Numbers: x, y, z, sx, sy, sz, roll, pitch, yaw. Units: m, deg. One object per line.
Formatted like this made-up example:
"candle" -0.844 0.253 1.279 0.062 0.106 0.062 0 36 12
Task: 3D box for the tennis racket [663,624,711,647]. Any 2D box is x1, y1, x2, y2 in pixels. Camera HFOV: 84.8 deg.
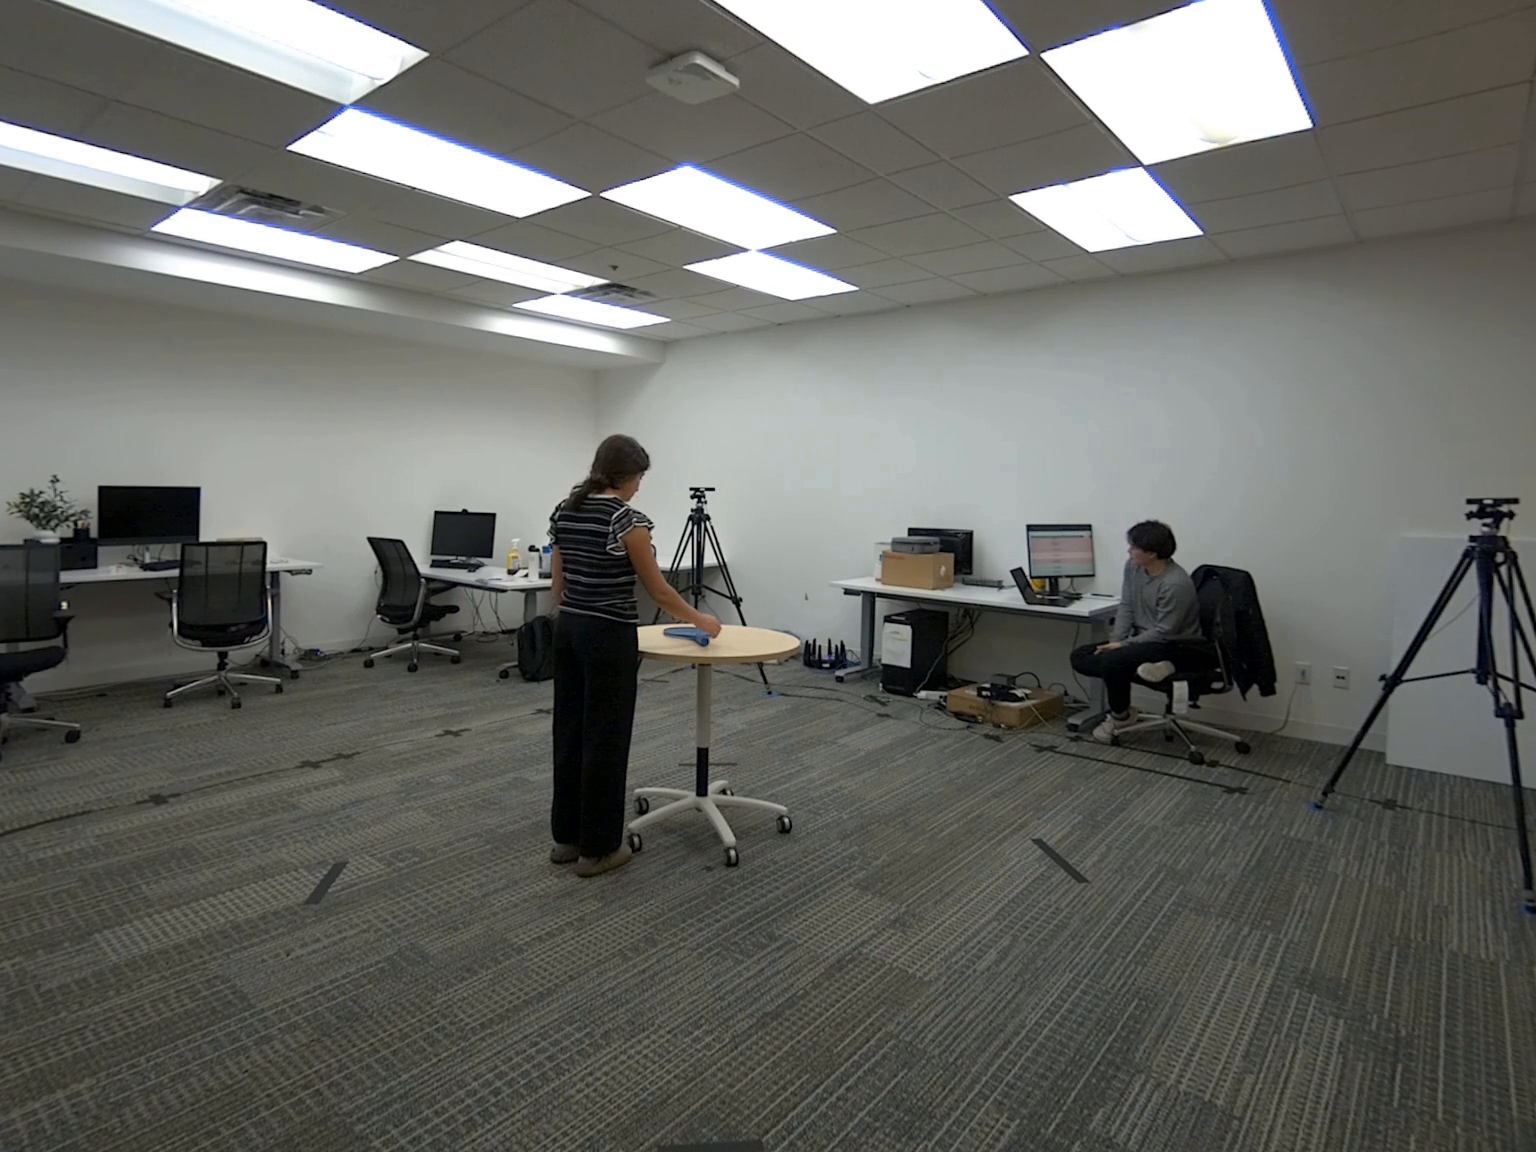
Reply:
"tennis racket" -0.312 0.238 3.460 0.210 0.031 0.442 0 5 -19
